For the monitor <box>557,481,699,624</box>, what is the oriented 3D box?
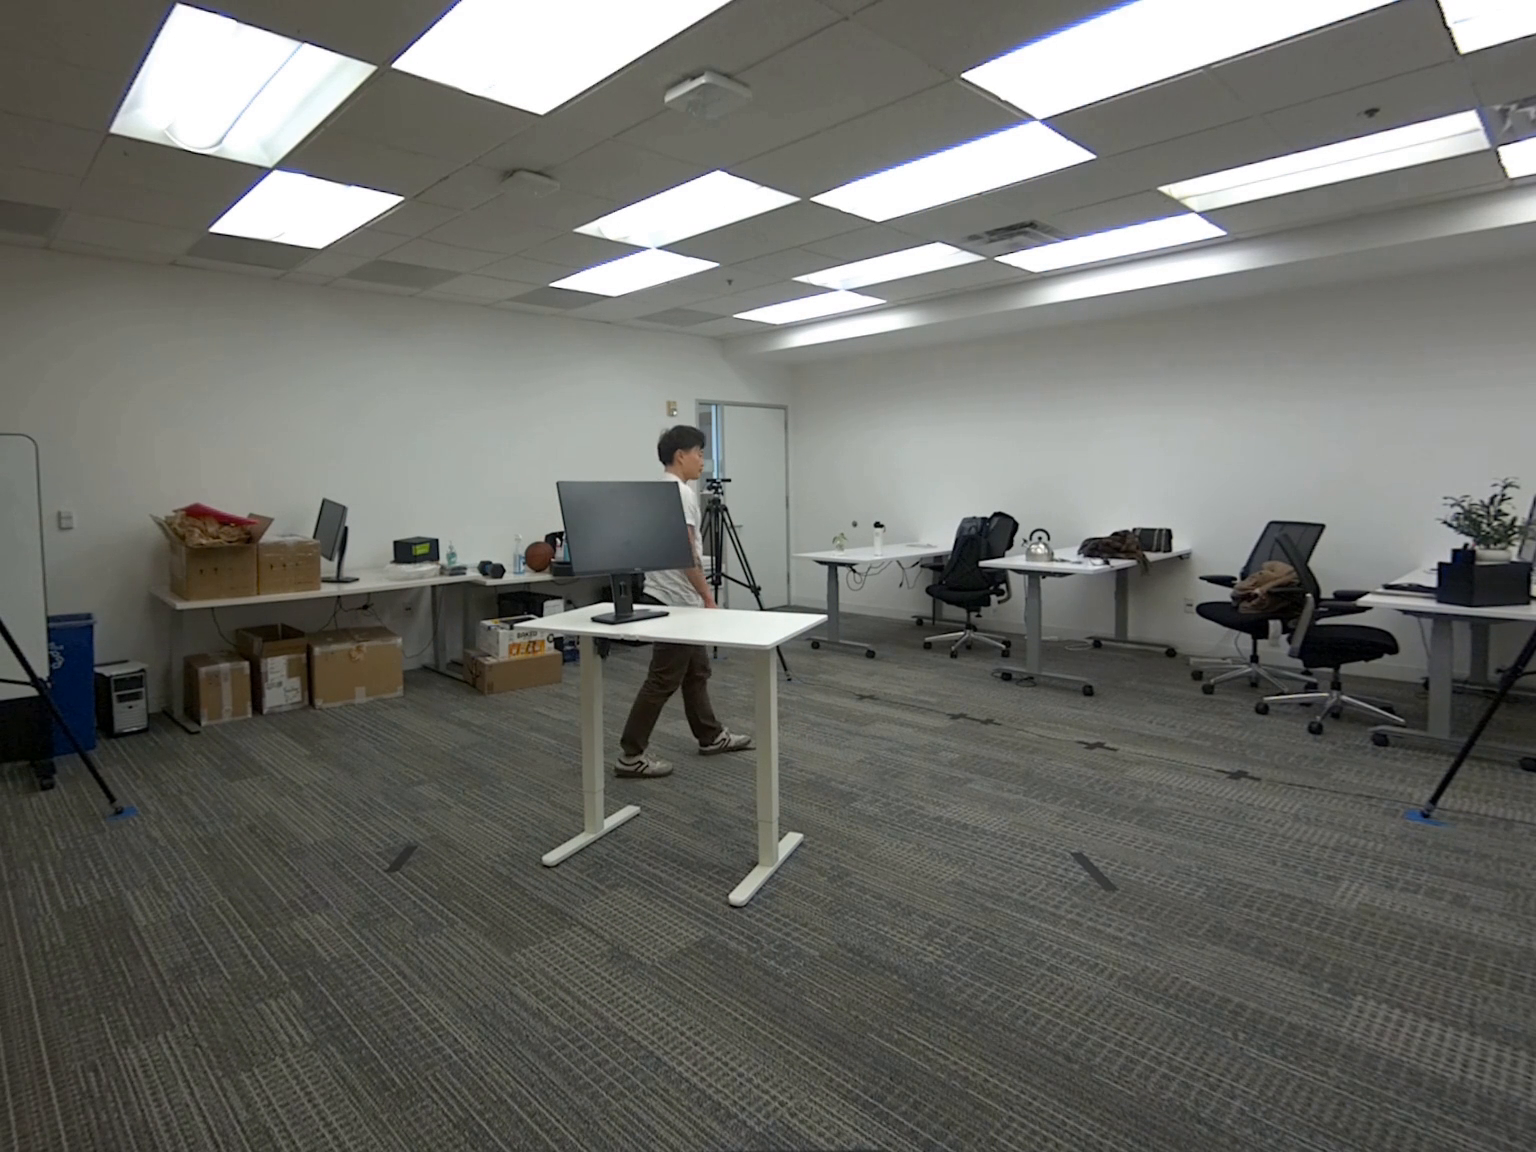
[{"bbox_3d":[-0.538,-0.094,3.212,0.524,0.522,0.192,-5,1,-43],"label":"monitor"}]
